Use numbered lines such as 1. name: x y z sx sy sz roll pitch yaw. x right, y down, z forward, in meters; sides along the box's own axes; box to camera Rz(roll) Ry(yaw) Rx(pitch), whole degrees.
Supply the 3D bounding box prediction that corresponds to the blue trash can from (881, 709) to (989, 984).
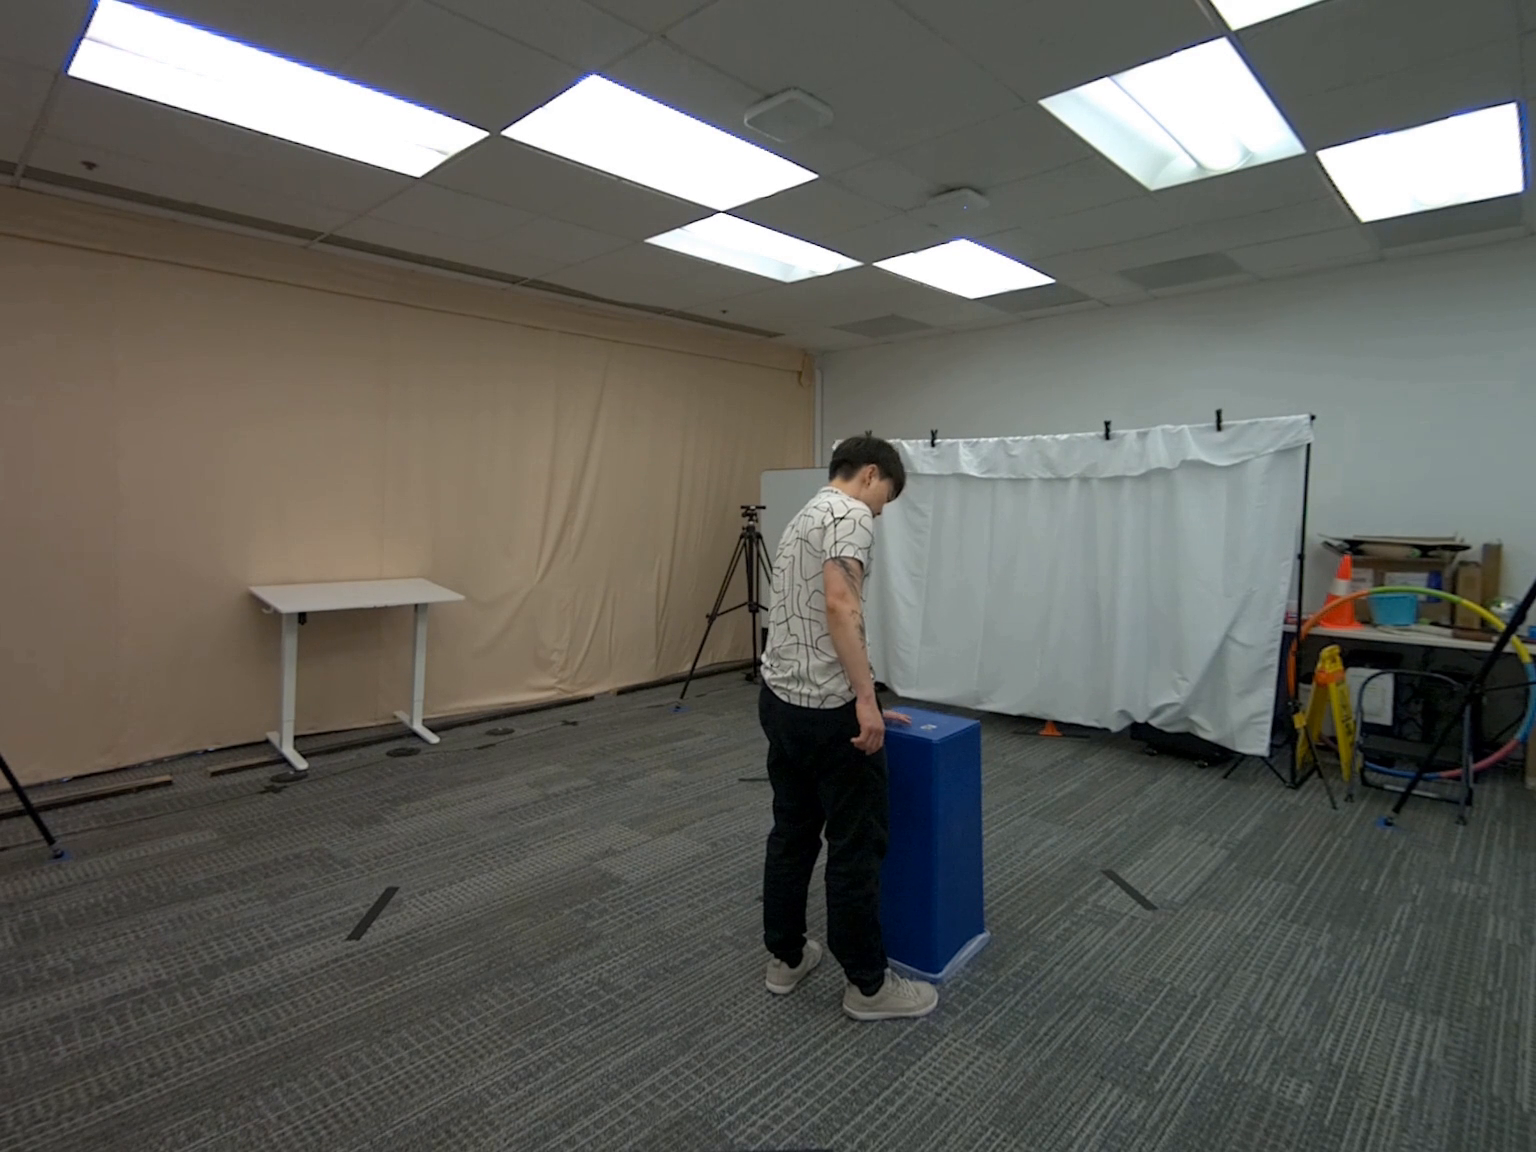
1. blue trash can: 0.476 0.816 2.665 0.386 0.711 0.366 4 6 41
